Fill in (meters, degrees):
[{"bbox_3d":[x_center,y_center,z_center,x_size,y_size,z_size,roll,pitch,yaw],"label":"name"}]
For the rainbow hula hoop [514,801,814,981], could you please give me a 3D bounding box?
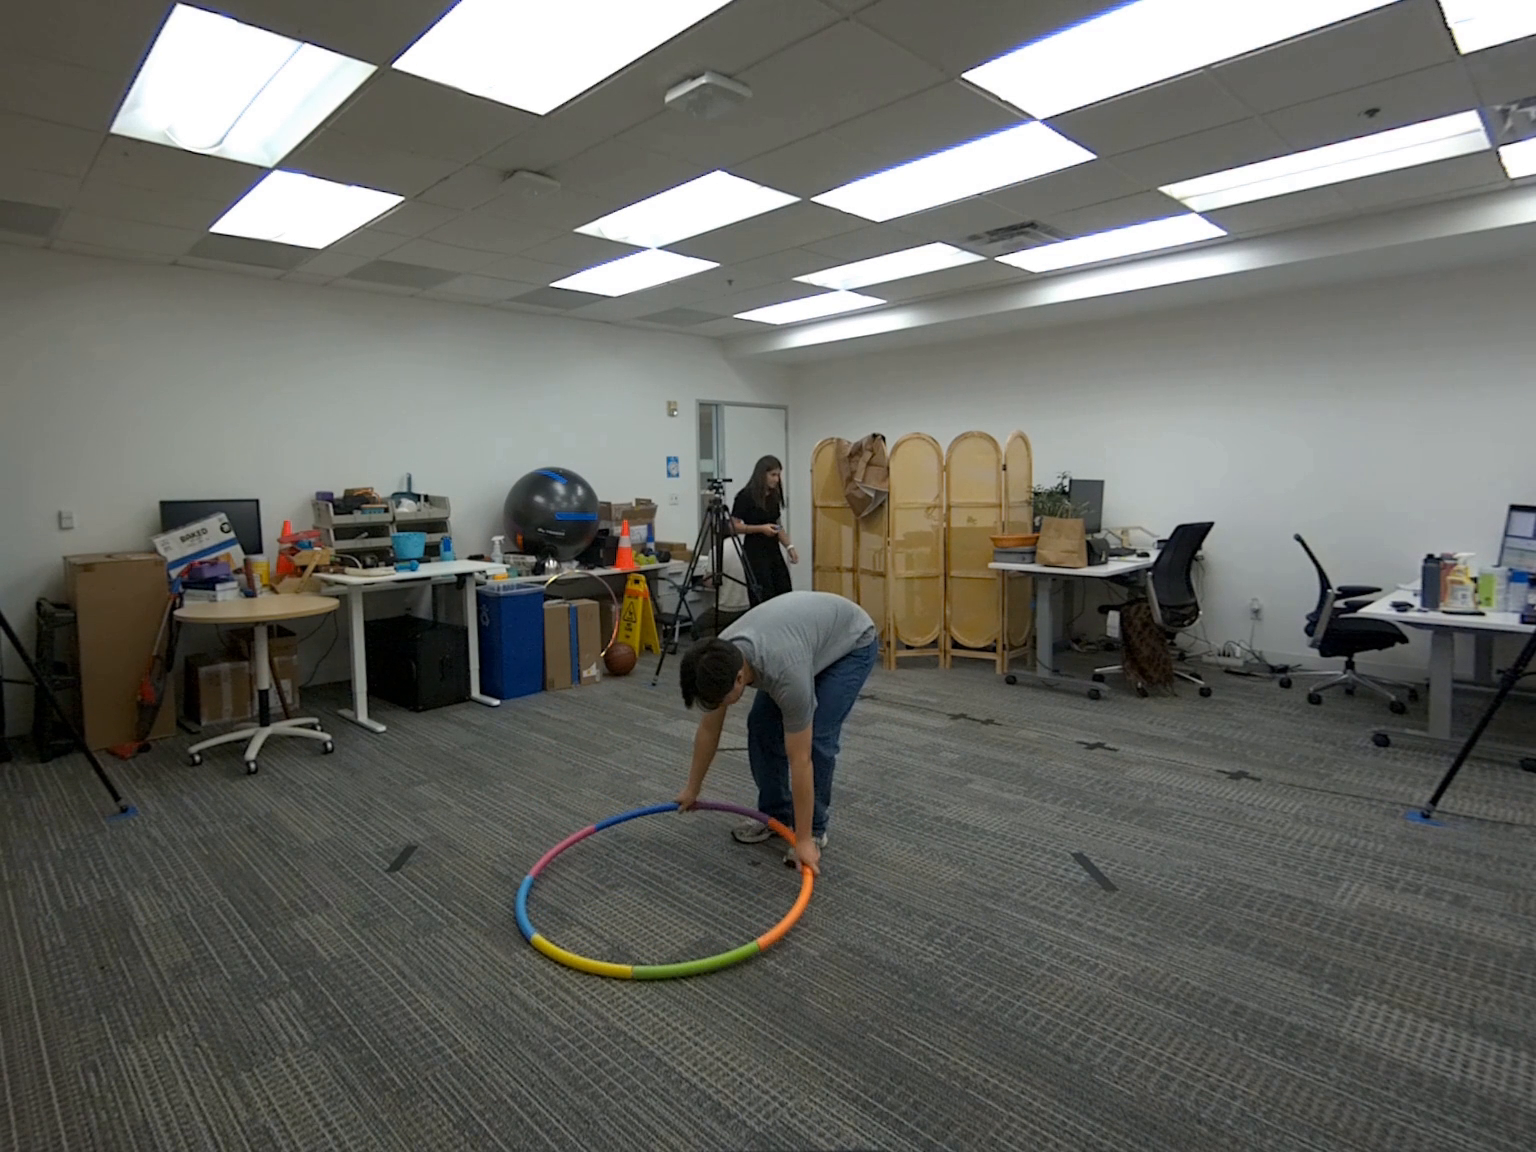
[{"bbox_3d":[-0.345,1.001,2.877,0.979,0.035,0.990,-5,13,-1],"label":"rainbow hula hoop"}]
